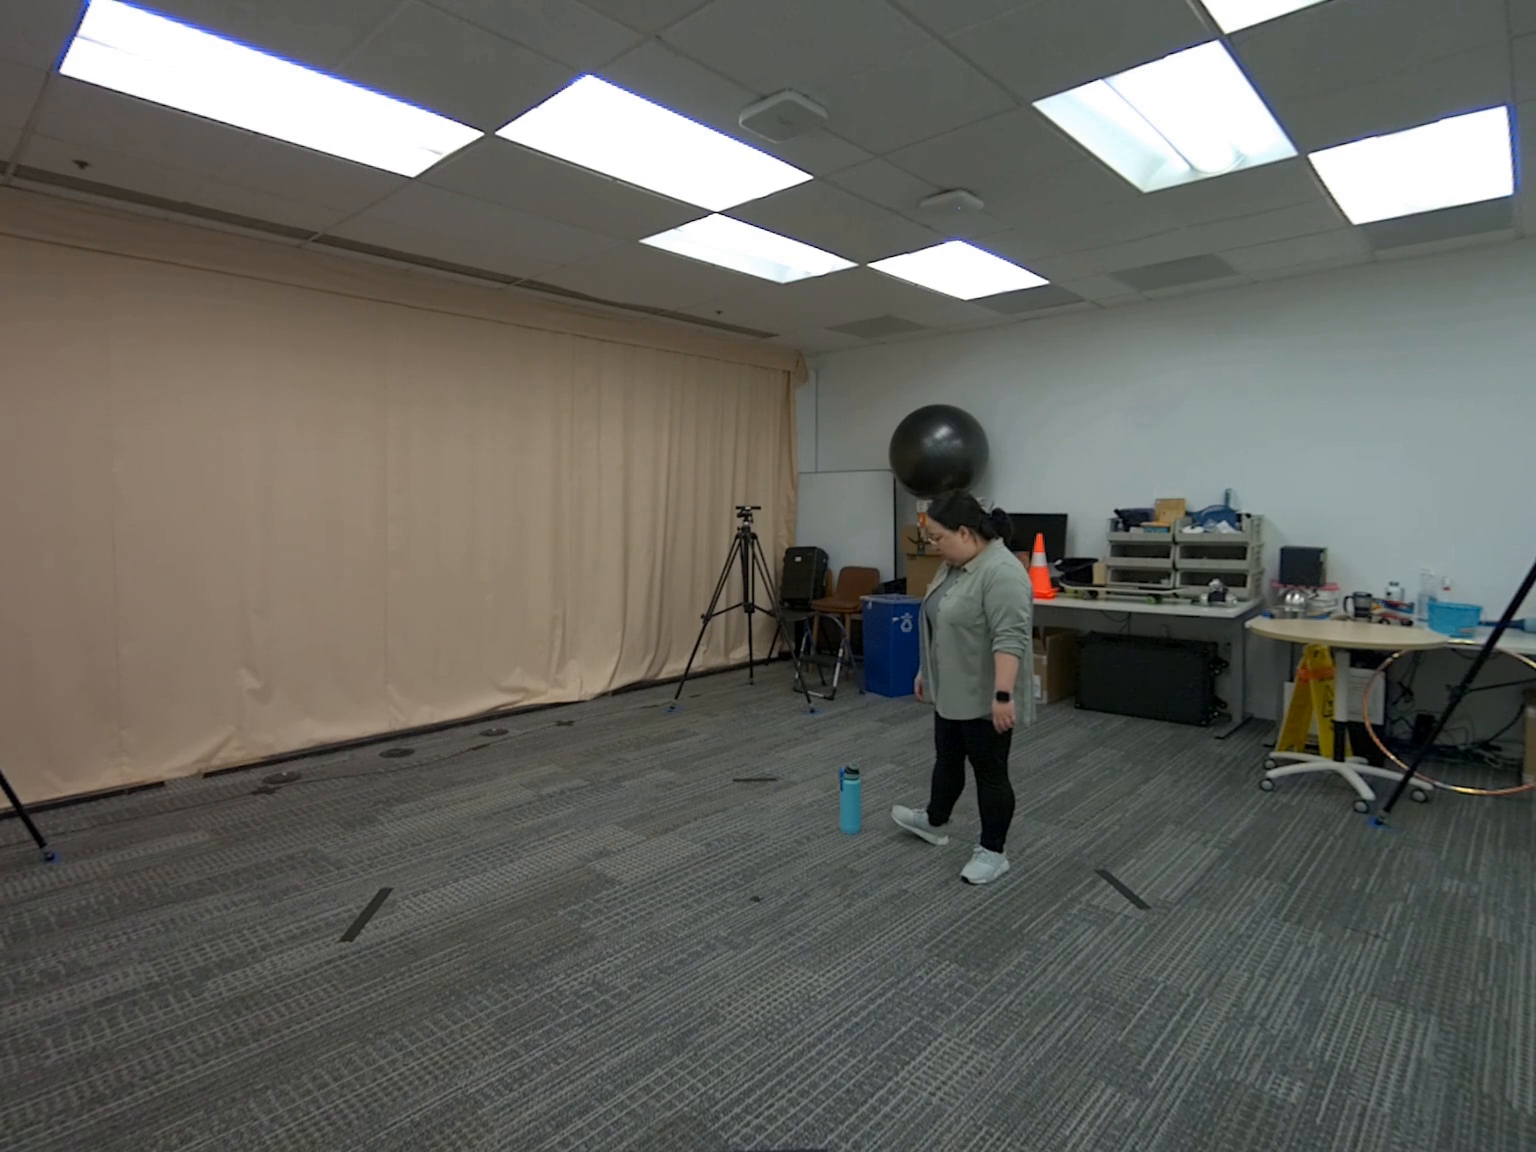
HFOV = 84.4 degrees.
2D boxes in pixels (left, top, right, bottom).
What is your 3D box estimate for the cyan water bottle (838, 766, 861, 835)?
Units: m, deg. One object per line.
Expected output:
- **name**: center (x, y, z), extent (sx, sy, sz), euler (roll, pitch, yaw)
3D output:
- **cyan water bottle**: center (0.357, 0.952, 3.613), extent (0.092, 0.283, 0.092), euler (0, 3, -2)
